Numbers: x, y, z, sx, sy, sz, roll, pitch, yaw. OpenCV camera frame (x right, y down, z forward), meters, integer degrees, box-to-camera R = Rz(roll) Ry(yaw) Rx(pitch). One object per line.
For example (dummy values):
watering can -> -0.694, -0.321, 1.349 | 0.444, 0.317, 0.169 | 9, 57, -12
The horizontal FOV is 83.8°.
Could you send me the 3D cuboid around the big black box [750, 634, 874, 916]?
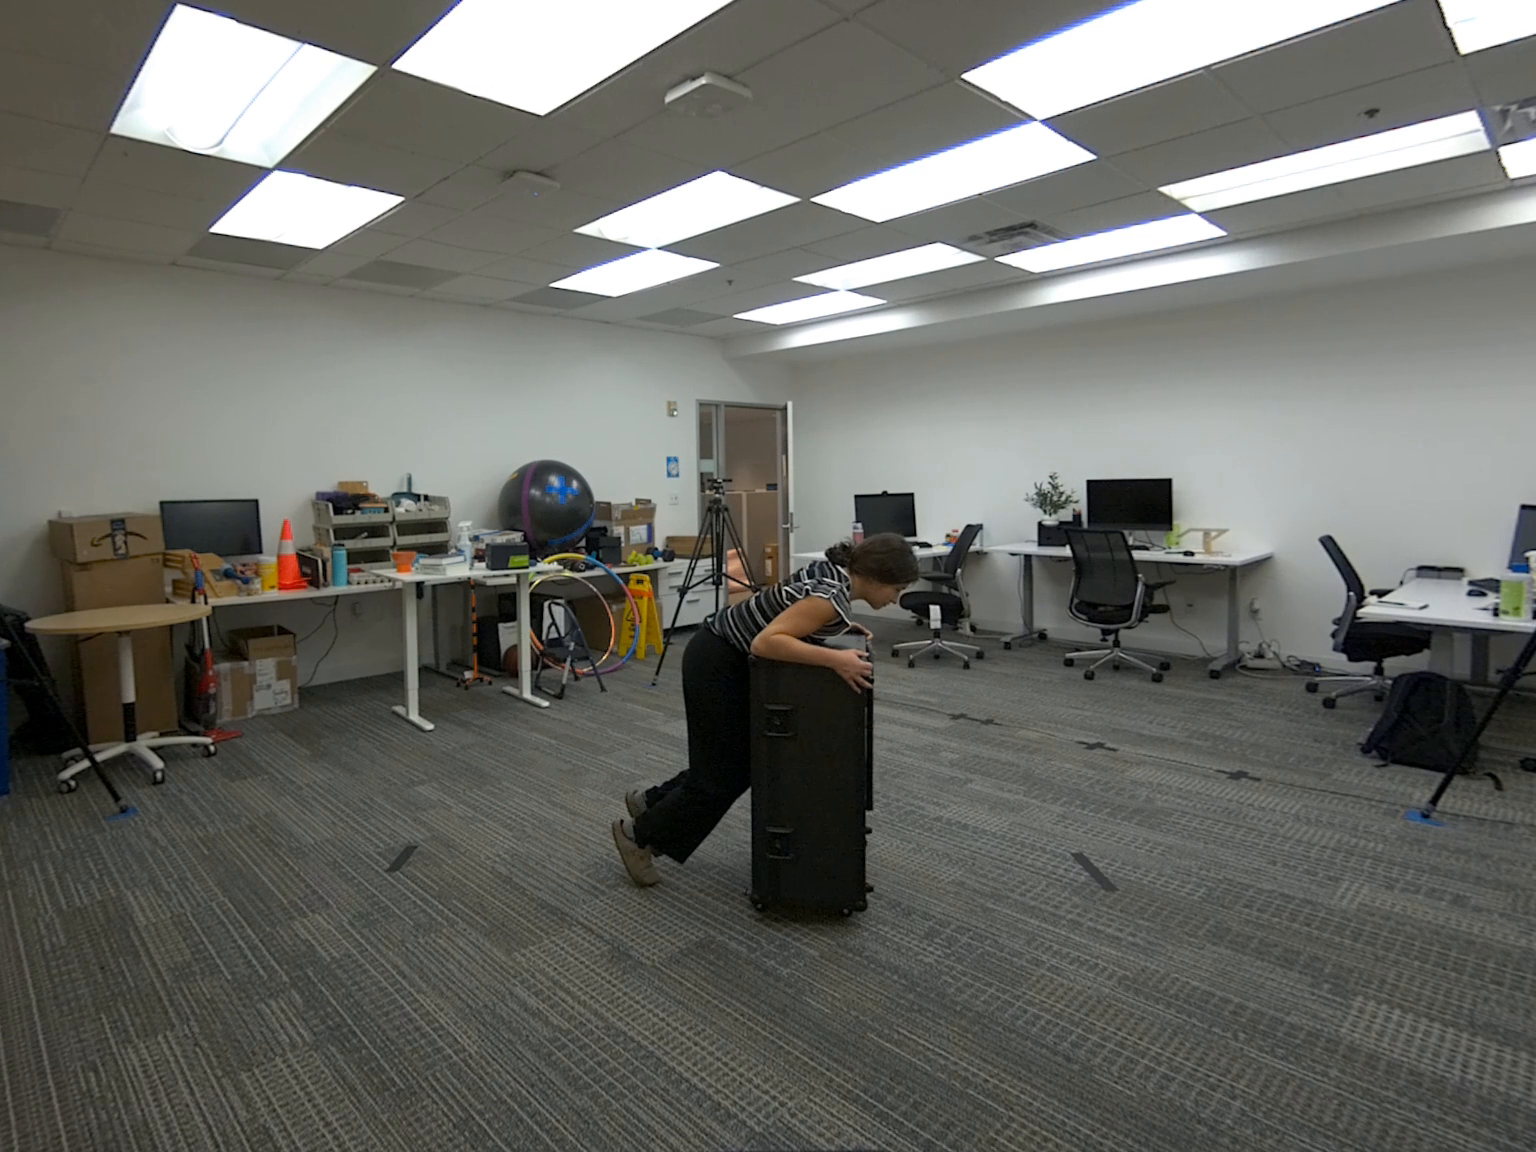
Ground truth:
big black box -> 0.167, 0.659, 2.863 | 0.399, 0.858, 0.520 | 2, 5, 6
